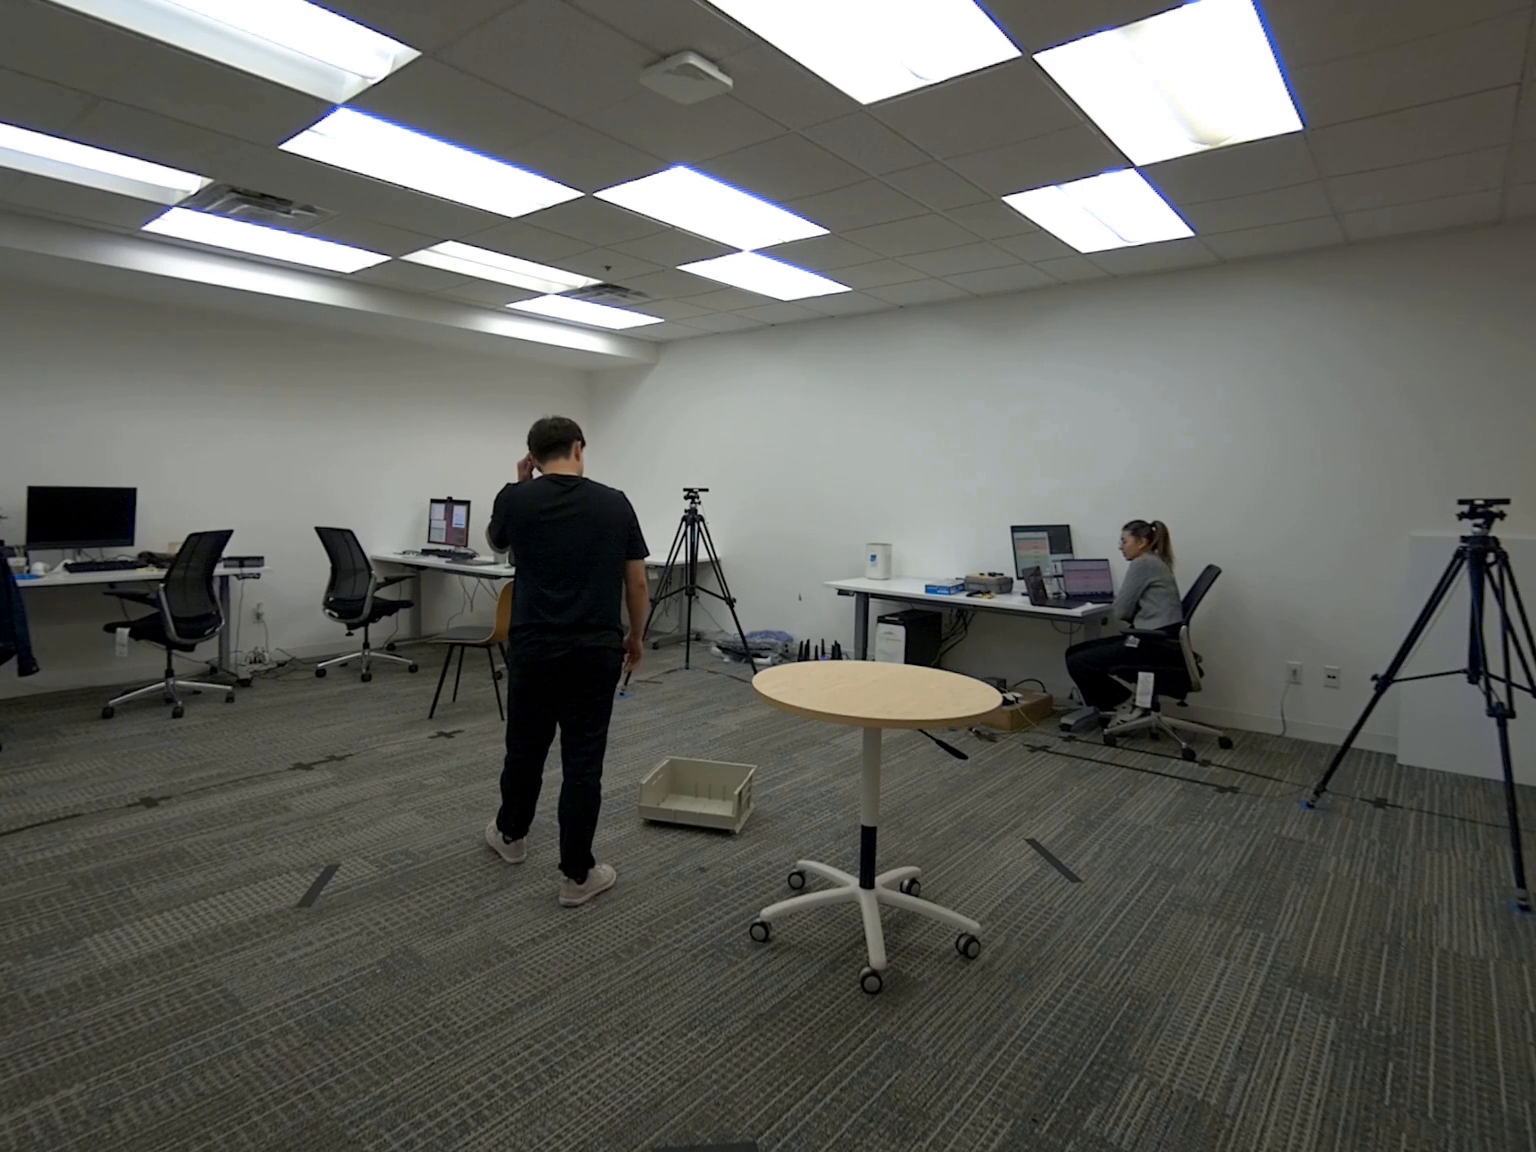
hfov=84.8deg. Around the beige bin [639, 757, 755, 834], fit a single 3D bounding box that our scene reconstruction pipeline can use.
[{"bbox_3d":[-0.303,0.931,3.619,0.429,0.188,0.373,2,4,13],"label":"beige bin"}]
